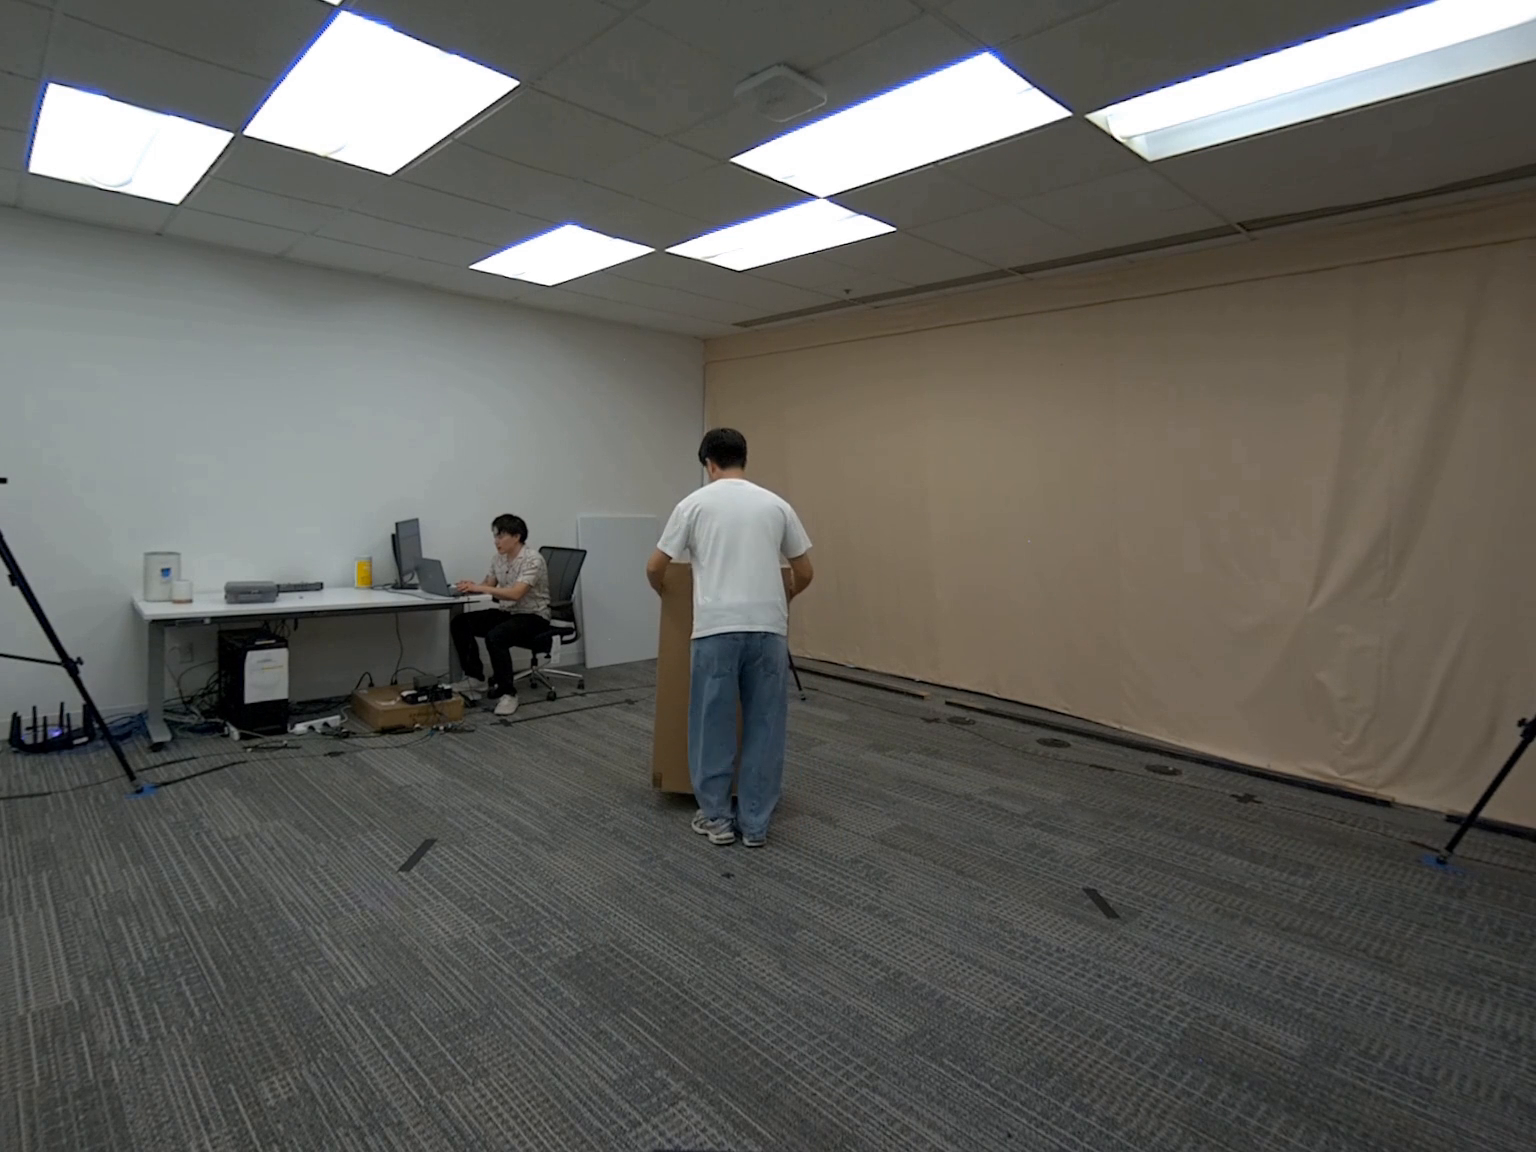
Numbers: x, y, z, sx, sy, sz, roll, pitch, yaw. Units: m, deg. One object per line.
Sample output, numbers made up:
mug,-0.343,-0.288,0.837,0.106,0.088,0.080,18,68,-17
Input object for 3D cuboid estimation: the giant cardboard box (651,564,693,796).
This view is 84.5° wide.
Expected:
giant cardboard box,-0.224,0.459,3.933,0.577,1.025,0.427,3,0,-2
